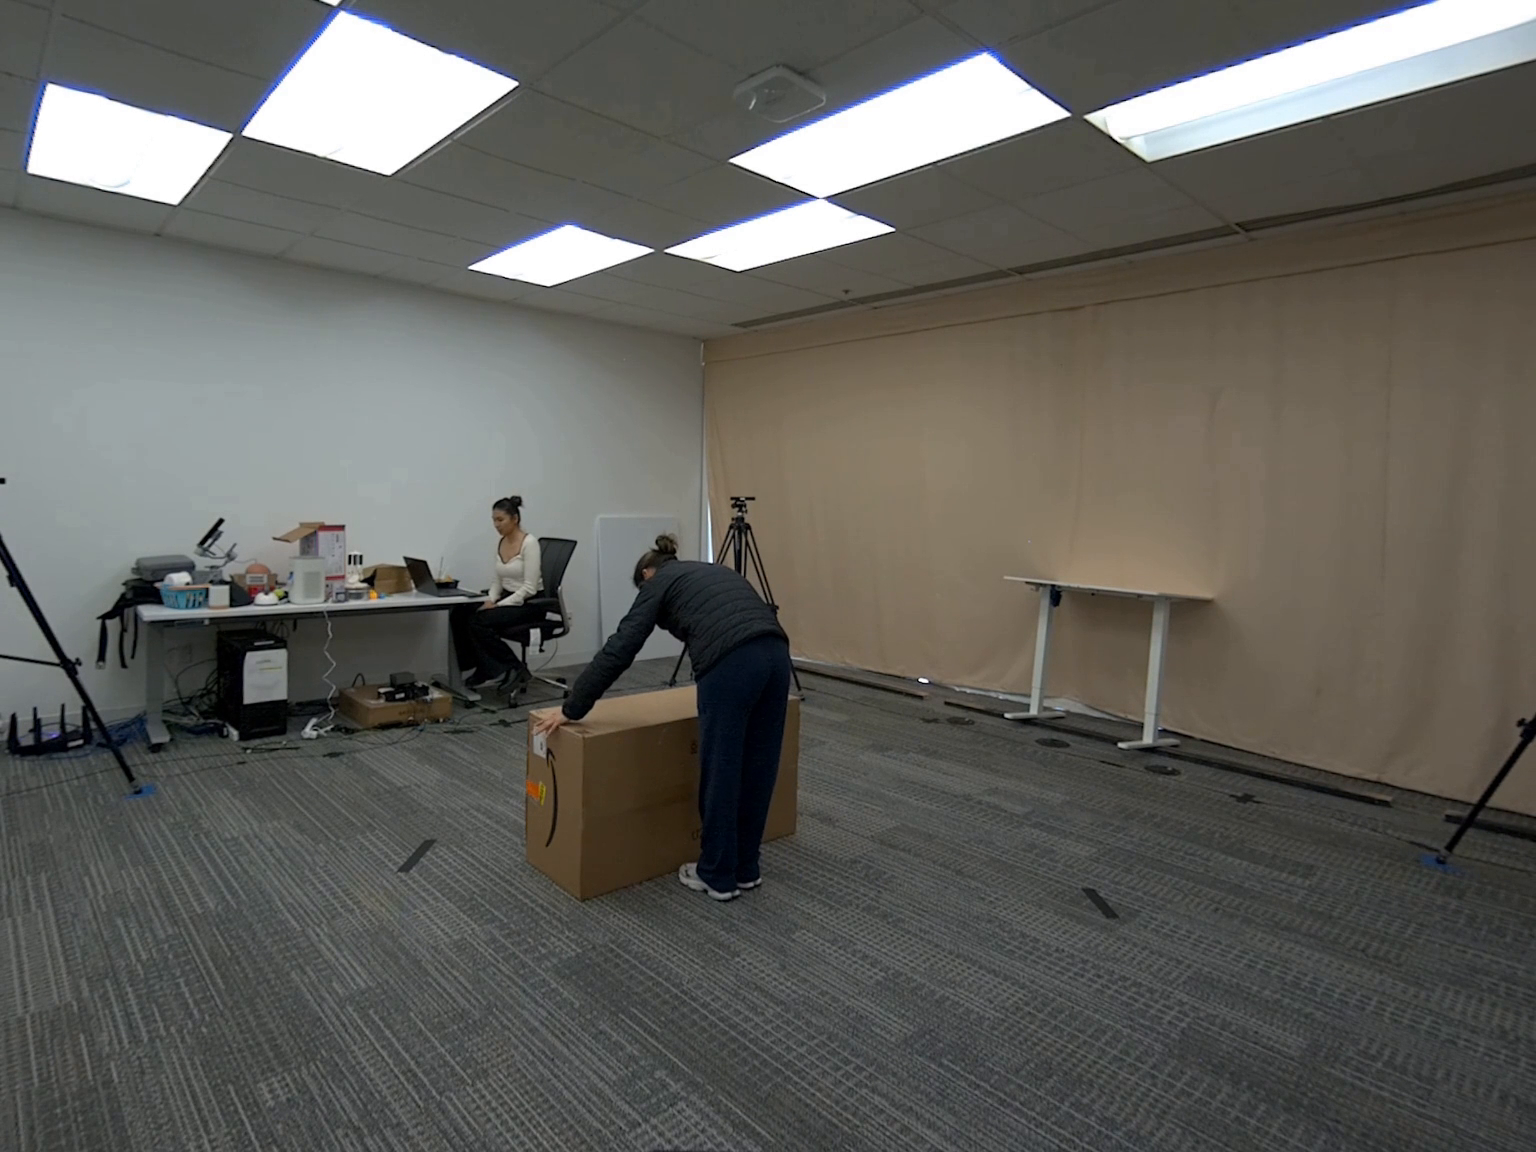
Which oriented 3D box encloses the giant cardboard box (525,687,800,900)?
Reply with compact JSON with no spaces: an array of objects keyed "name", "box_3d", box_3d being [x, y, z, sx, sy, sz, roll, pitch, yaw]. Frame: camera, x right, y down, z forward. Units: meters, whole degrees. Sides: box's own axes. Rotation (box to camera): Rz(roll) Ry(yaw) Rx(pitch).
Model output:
[{"name":"giant cardboard box","box_3d":[-0.402,0.793,3.336,1.004,0.582,0.458,-2,6,-40]}]
